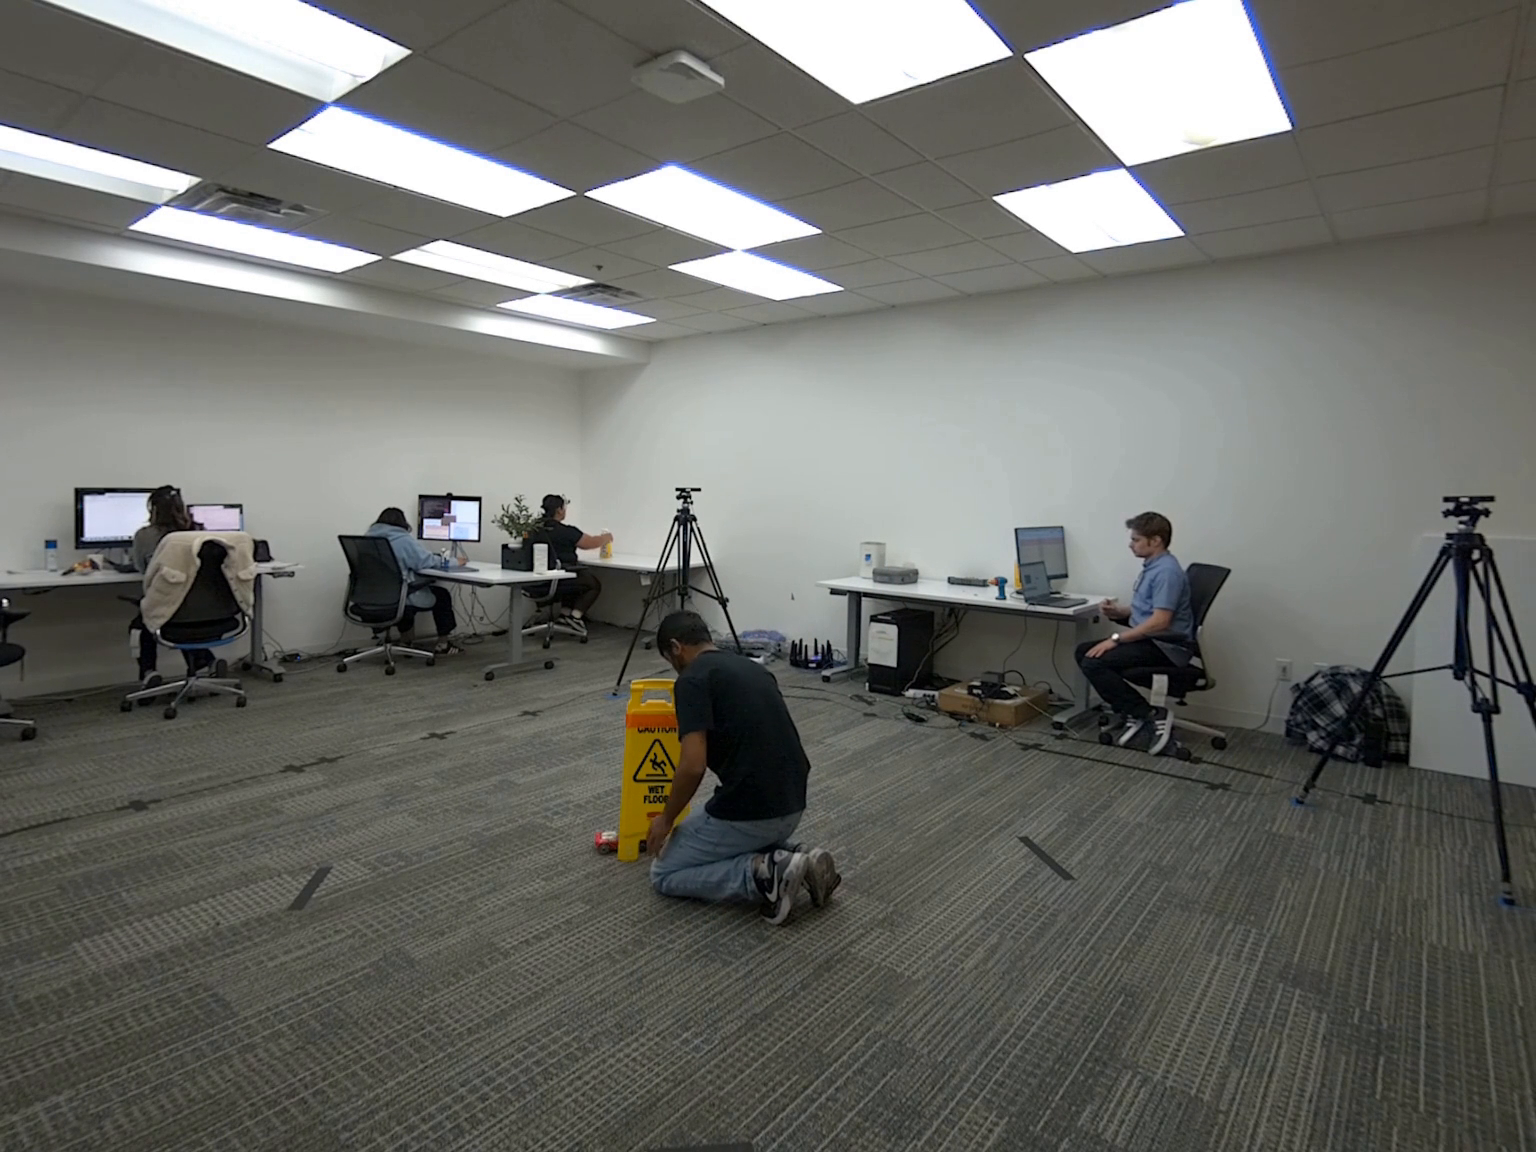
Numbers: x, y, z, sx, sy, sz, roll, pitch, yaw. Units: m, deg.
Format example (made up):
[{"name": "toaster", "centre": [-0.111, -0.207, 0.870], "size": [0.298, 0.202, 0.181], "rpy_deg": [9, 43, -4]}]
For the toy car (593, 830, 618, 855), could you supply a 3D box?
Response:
[{"name": "toy car", "centre": [-0.544, 1.014, 3.290], "size": [0.252, 0.083, 0.132], "rpy_deg": [-9, 7, -10]}]
